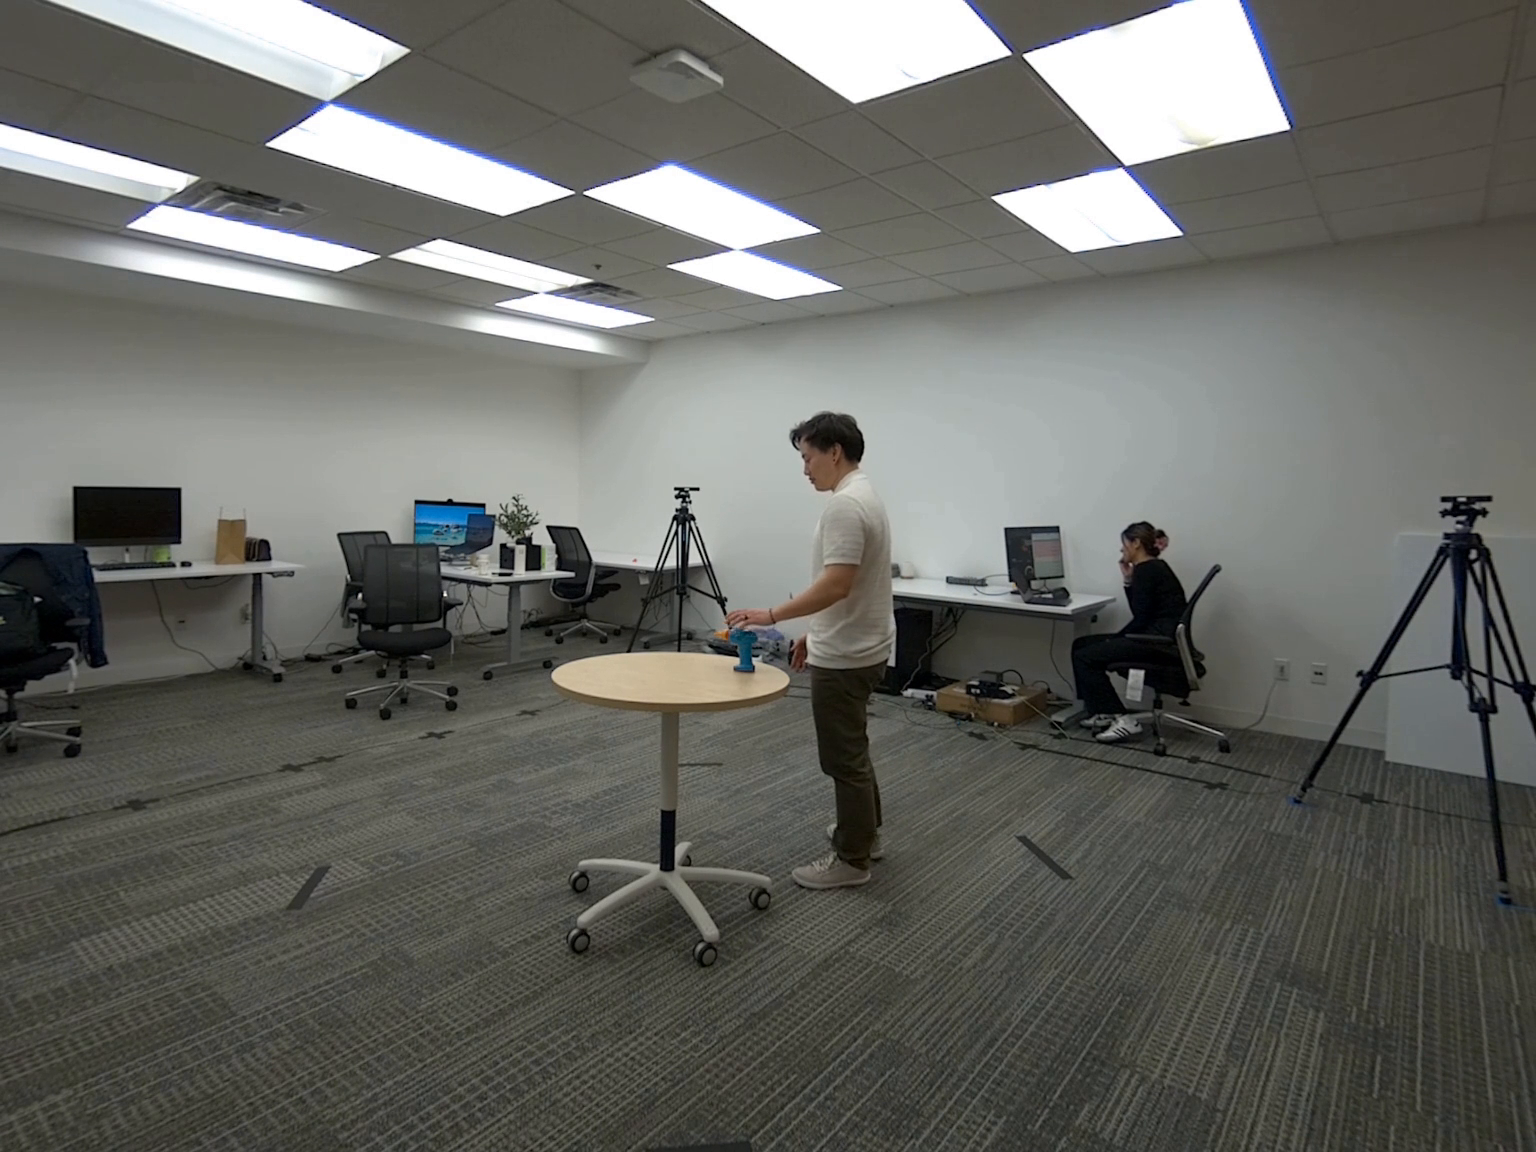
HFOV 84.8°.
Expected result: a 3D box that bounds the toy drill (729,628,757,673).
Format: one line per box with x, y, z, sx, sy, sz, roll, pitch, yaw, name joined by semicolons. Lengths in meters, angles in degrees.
-0.119;0.241;2.854;0.174;0.146;0.059;4;3;27;toy drill
